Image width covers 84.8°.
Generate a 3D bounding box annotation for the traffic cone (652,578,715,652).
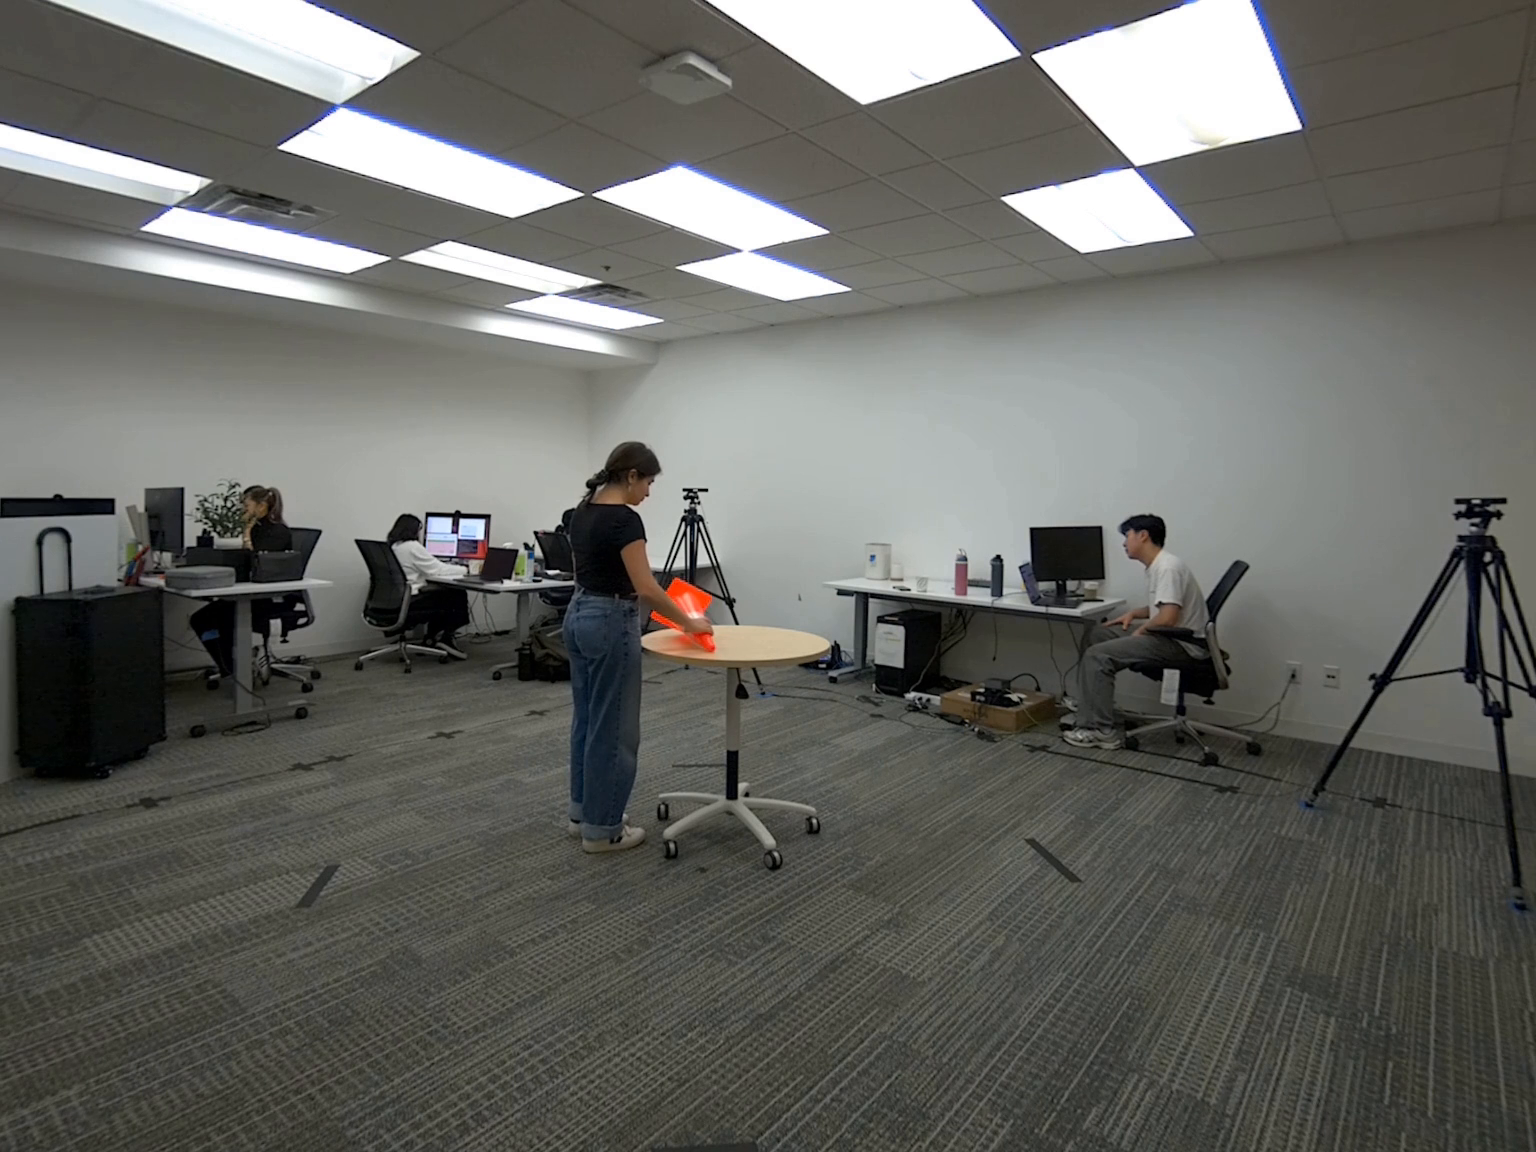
[{"bbox_3d":[-0.290,0.197,3.339,0.196,0.205,0.398,31,8,-31],"label":"traffic cone"}]
